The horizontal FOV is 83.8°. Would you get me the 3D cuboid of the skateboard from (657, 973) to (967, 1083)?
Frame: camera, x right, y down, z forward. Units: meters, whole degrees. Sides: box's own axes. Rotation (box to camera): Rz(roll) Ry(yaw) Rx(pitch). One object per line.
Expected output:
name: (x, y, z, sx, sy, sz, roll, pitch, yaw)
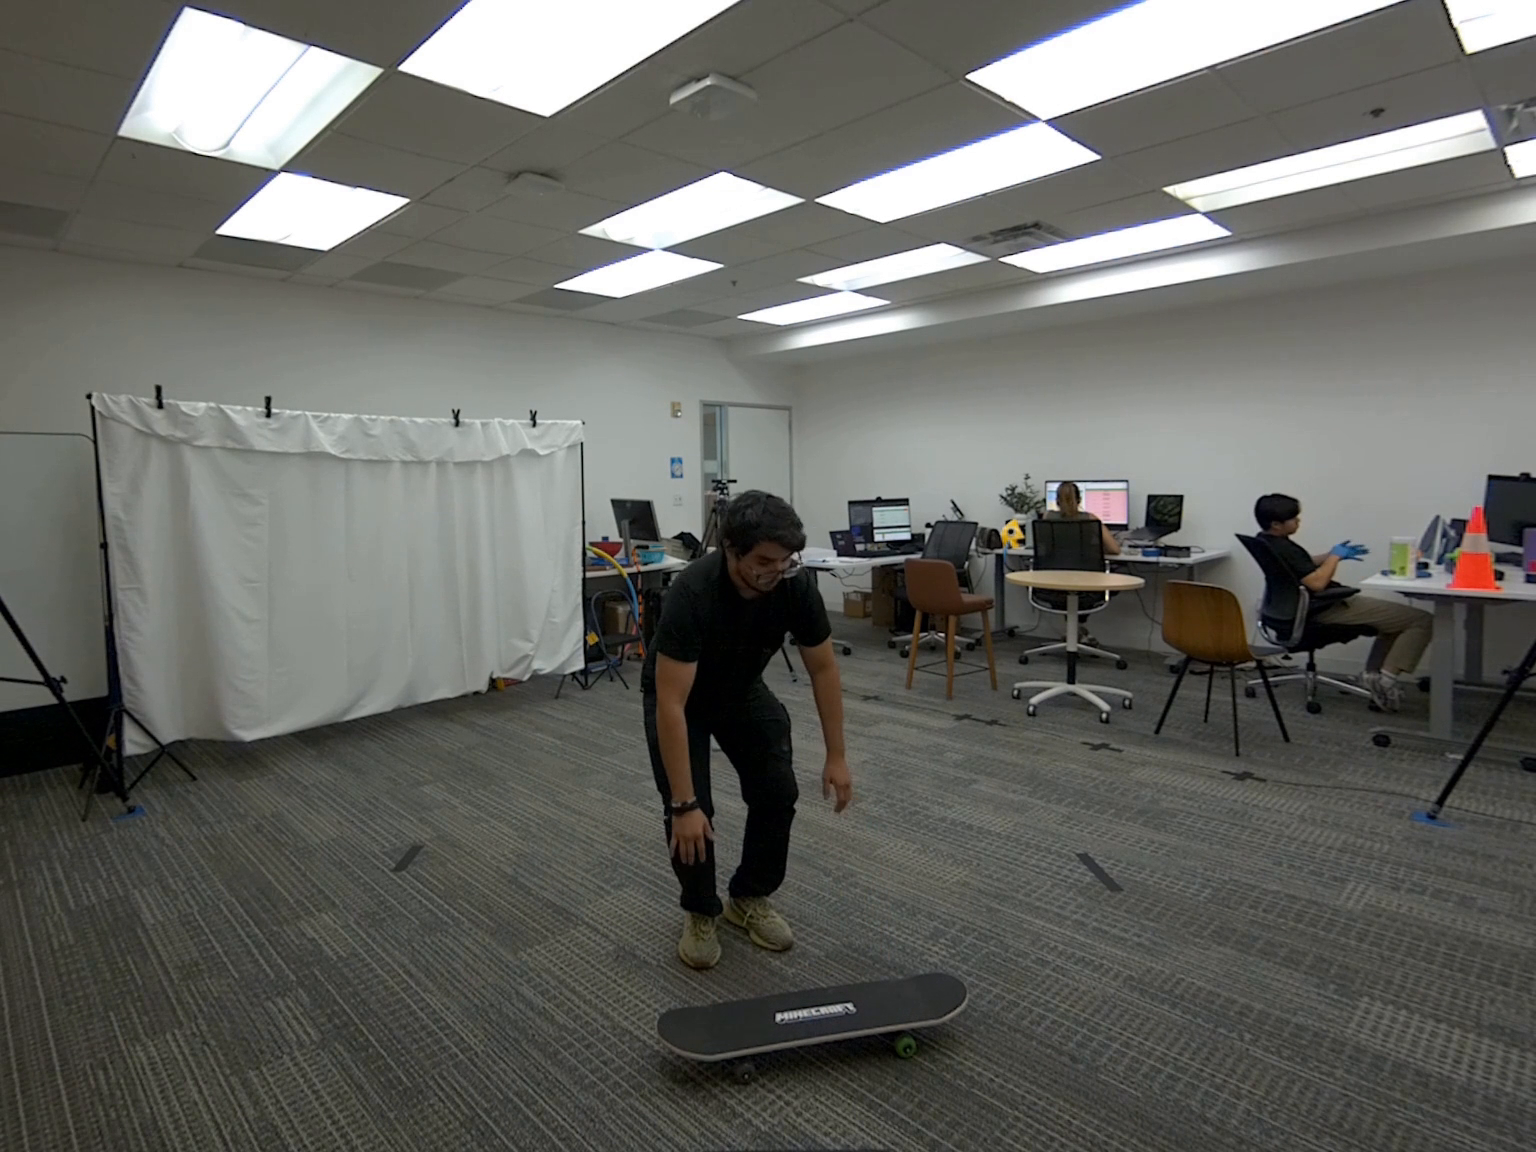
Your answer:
skateboard: (0.129, 1.104, 2.103, 0.777, 0.110, 0.196, -3, 6, -11)
